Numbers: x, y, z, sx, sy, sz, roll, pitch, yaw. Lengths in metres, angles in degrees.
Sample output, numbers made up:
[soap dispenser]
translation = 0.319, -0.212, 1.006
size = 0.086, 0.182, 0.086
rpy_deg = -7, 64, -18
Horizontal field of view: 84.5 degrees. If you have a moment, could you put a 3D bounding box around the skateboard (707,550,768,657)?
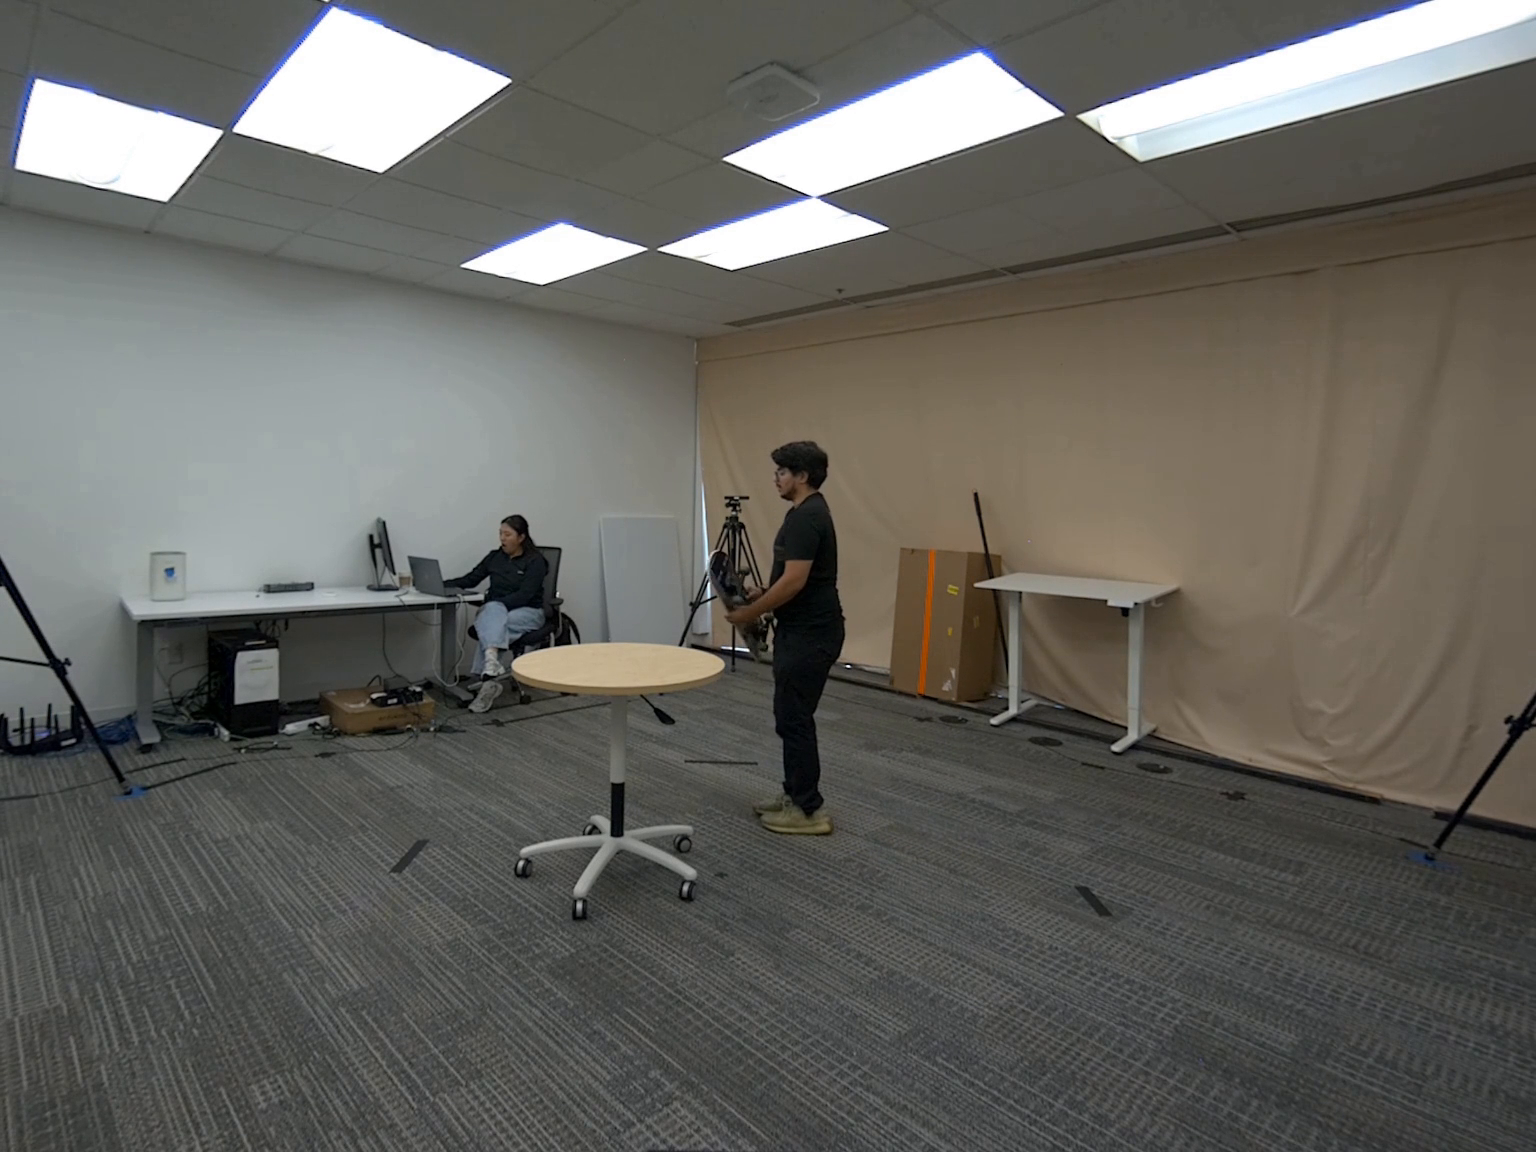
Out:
[skateboard]
translation = -0.094, 0.152, 3.720
size = 0.112, 0.196, 0.762
rpy_deg = 3, -33, 22
